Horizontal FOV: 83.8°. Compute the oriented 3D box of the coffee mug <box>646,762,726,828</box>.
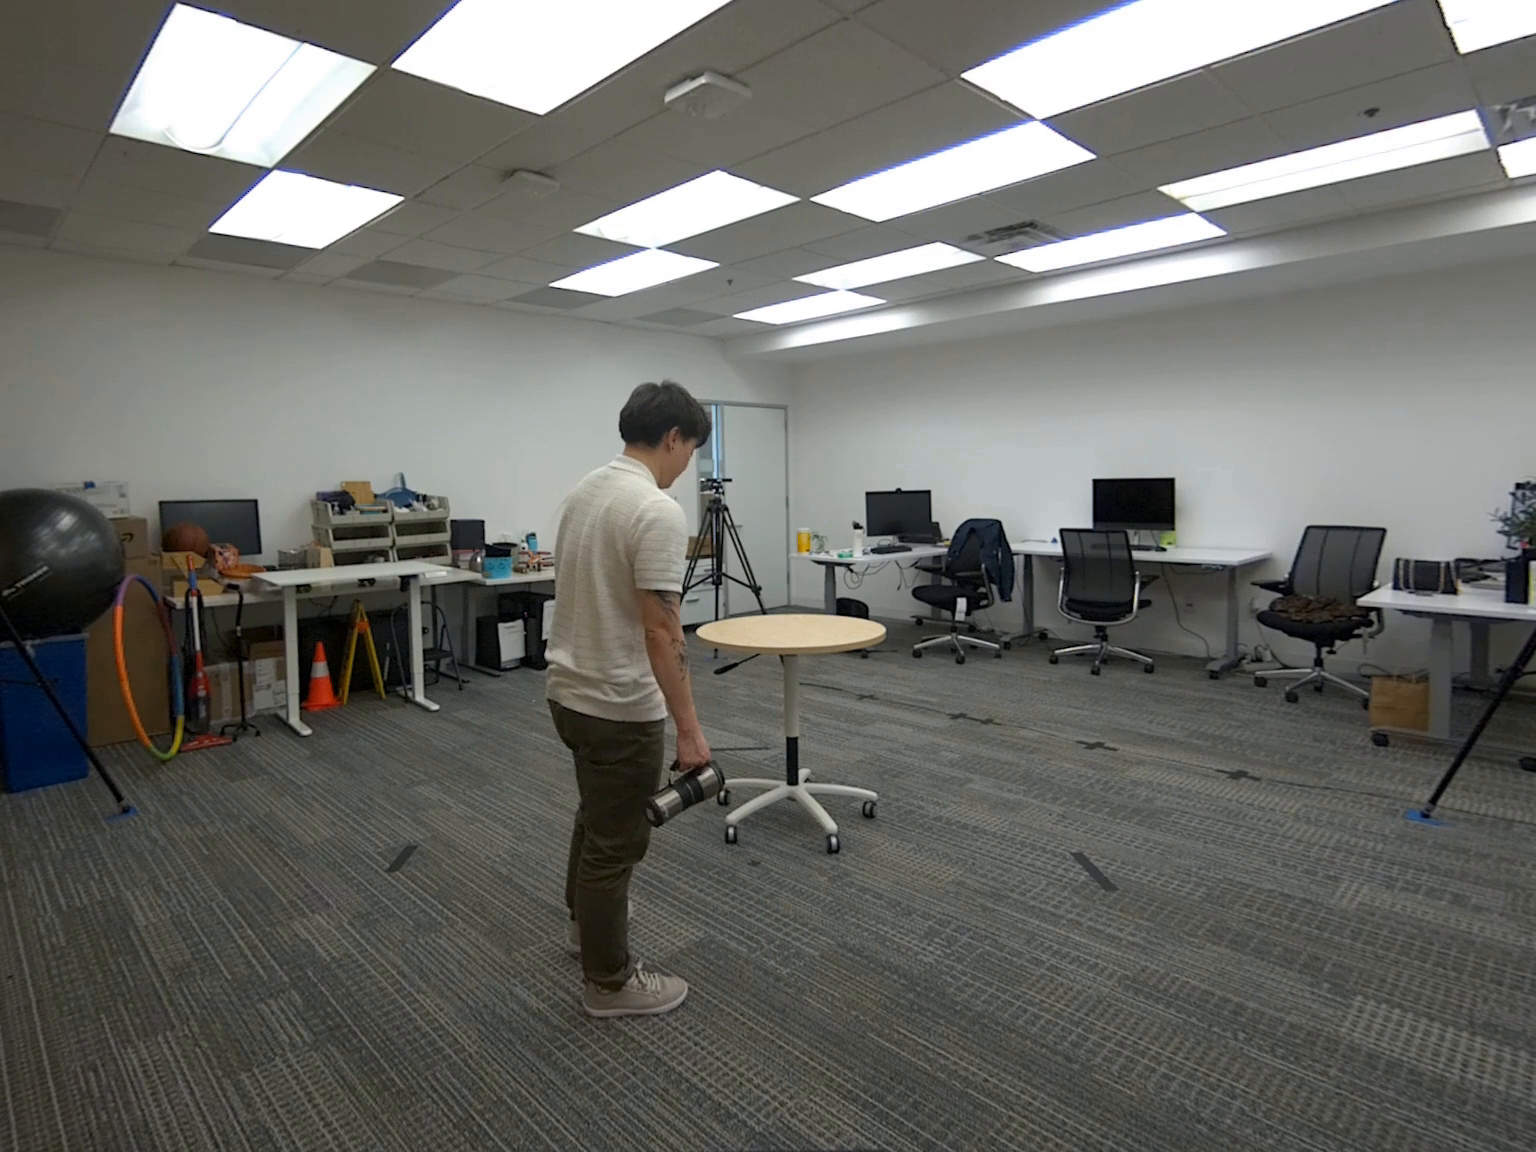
[{"bbox_3d":[-0.216,0.503,2.056,0.200,0.126,0.086,-21,-30,-32],"label":"coffee mug"}]
